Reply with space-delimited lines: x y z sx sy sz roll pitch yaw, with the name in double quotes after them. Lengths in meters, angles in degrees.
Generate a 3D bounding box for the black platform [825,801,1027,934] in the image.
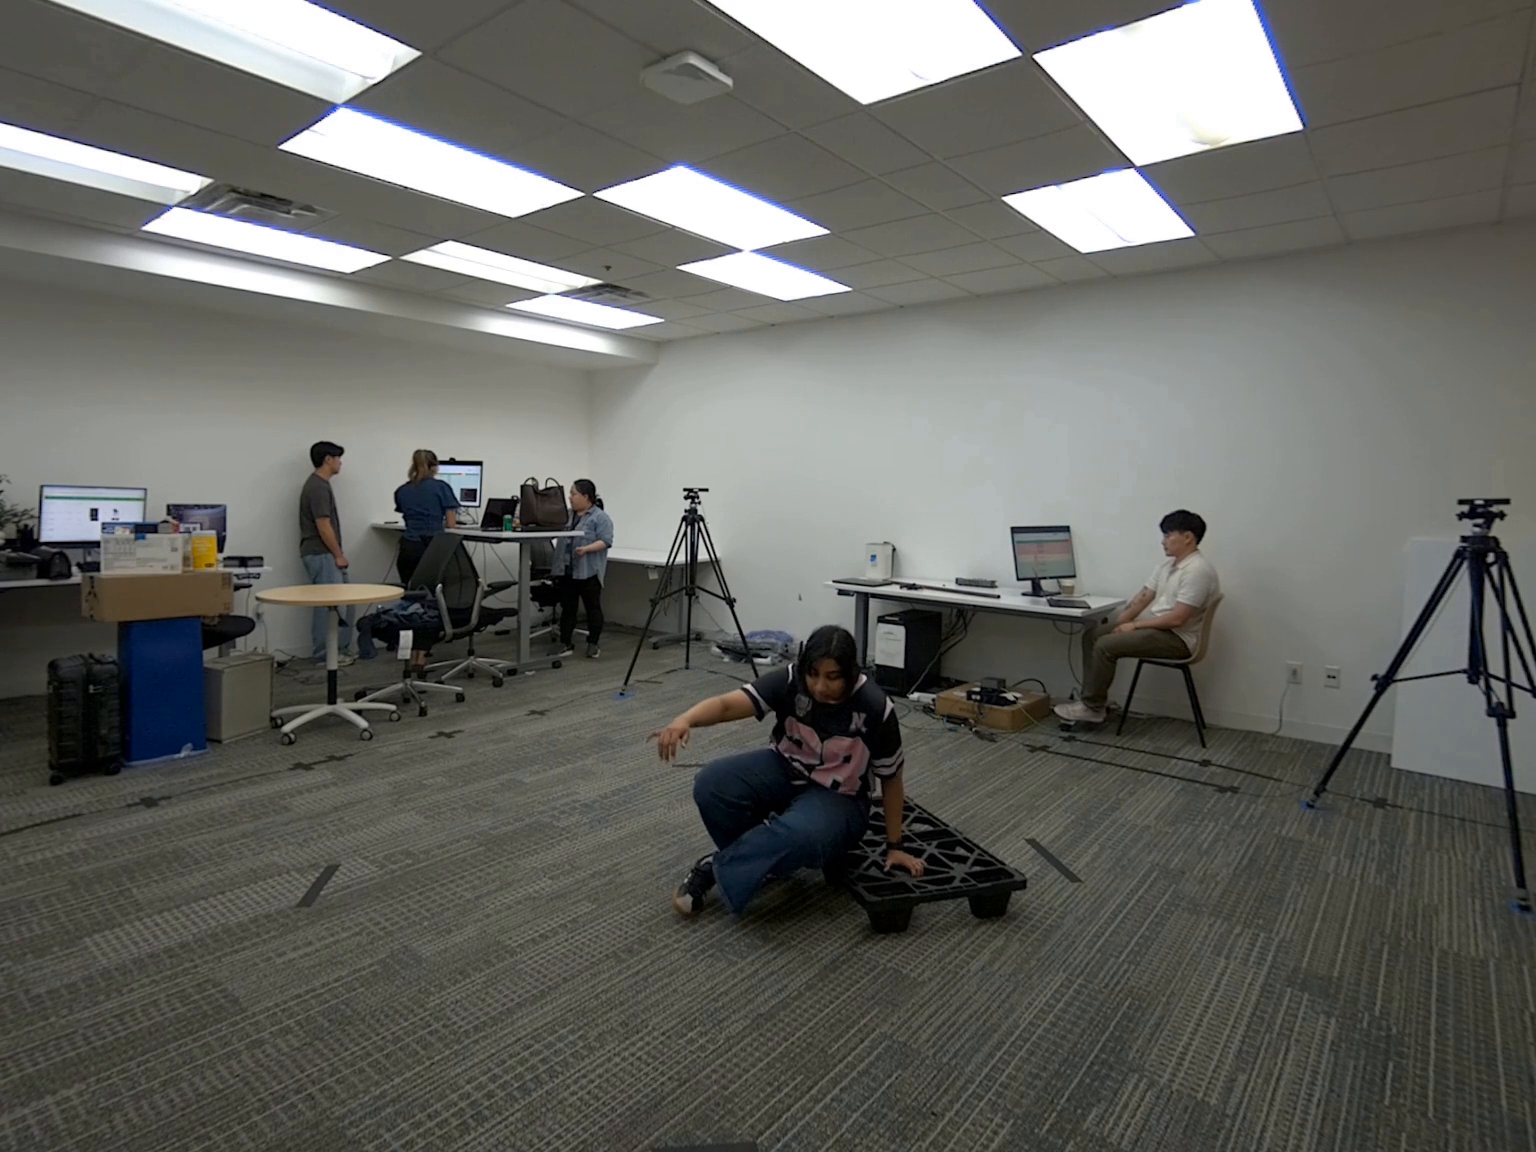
0.430 1.018 3.083 0.594 0.143 0.824 -1 5 -20 "black platform"
